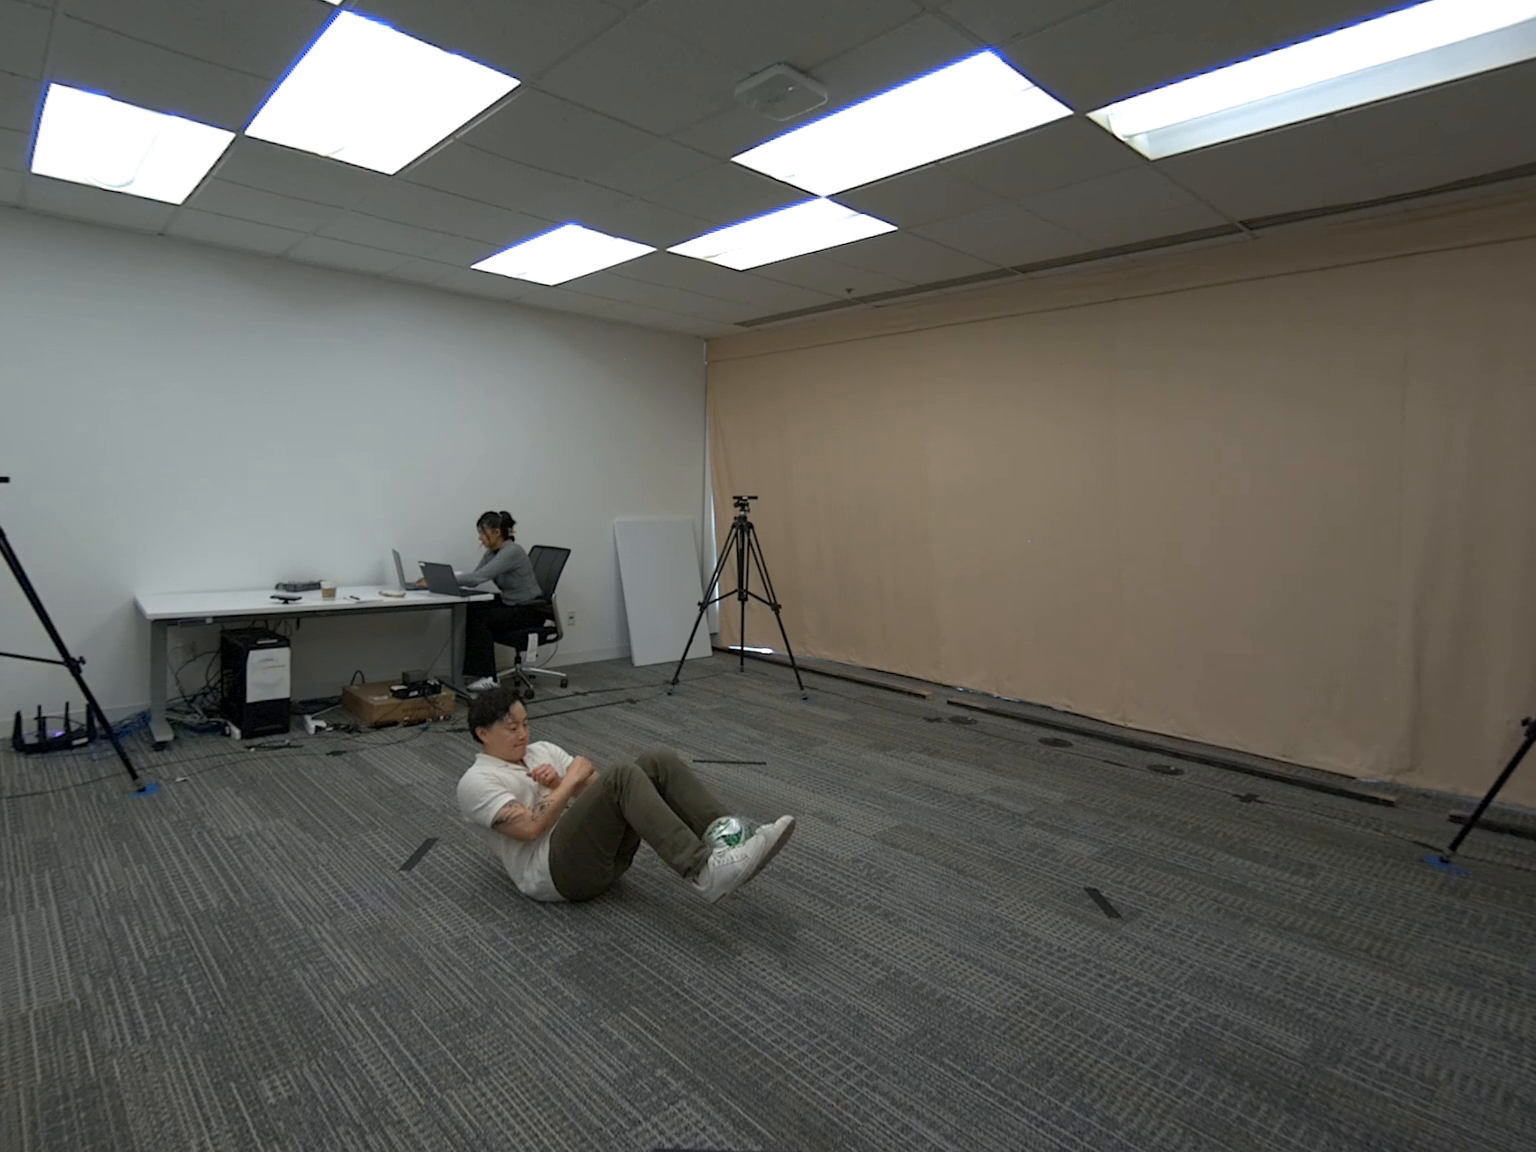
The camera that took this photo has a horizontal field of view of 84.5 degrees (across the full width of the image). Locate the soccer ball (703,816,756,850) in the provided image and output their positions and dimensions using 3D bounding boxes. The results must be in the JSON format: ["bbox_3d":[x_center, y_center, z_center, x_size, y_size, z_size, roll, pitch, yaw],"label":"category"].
[{"bbox_3d":[-0.141,0.875,2.705,0.187,0.187,0.188,1,4,-1],"label":"soccer ball"}]
